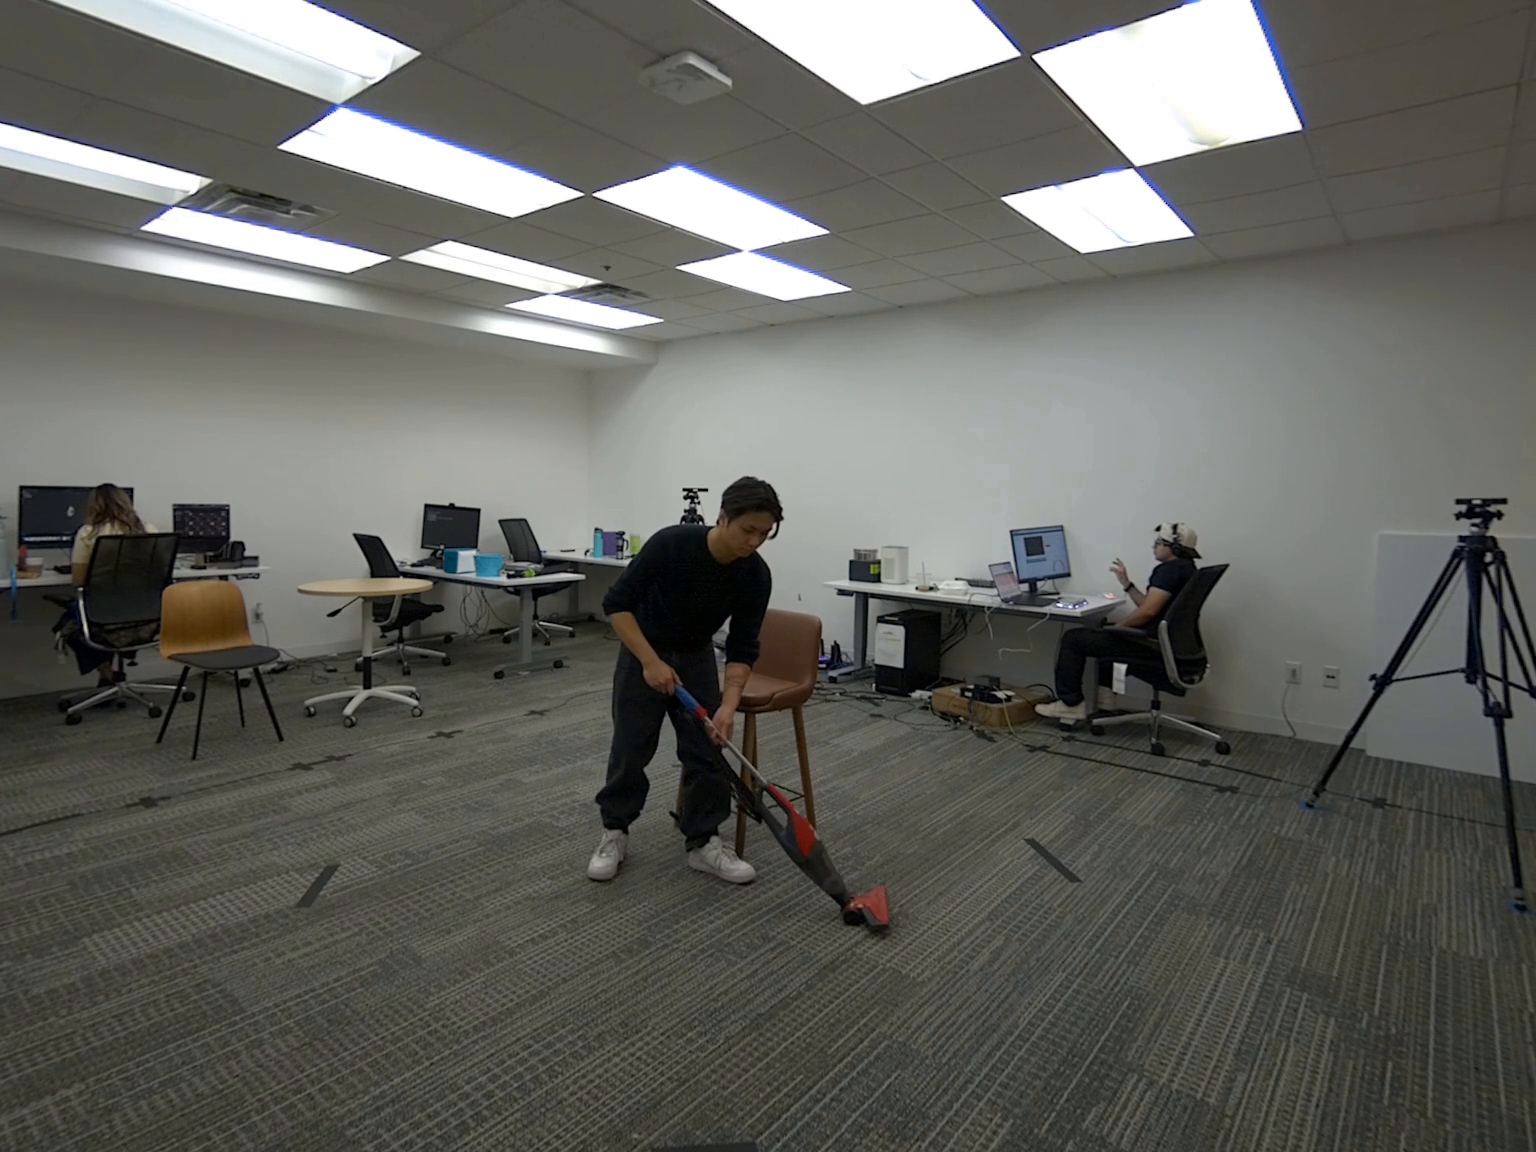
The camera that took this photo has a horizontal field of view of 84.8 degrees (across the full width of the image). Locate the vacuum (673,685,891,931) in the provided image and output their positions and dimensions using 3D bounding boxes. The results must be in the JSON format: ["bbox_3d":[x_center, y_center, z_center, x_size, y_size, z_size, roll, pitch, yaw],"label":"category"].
[{"bbox_3d":[-0.029,0.711,2.820,0.144,1.056,0.251,-44,-4,13],"label":"vacuum"}]
